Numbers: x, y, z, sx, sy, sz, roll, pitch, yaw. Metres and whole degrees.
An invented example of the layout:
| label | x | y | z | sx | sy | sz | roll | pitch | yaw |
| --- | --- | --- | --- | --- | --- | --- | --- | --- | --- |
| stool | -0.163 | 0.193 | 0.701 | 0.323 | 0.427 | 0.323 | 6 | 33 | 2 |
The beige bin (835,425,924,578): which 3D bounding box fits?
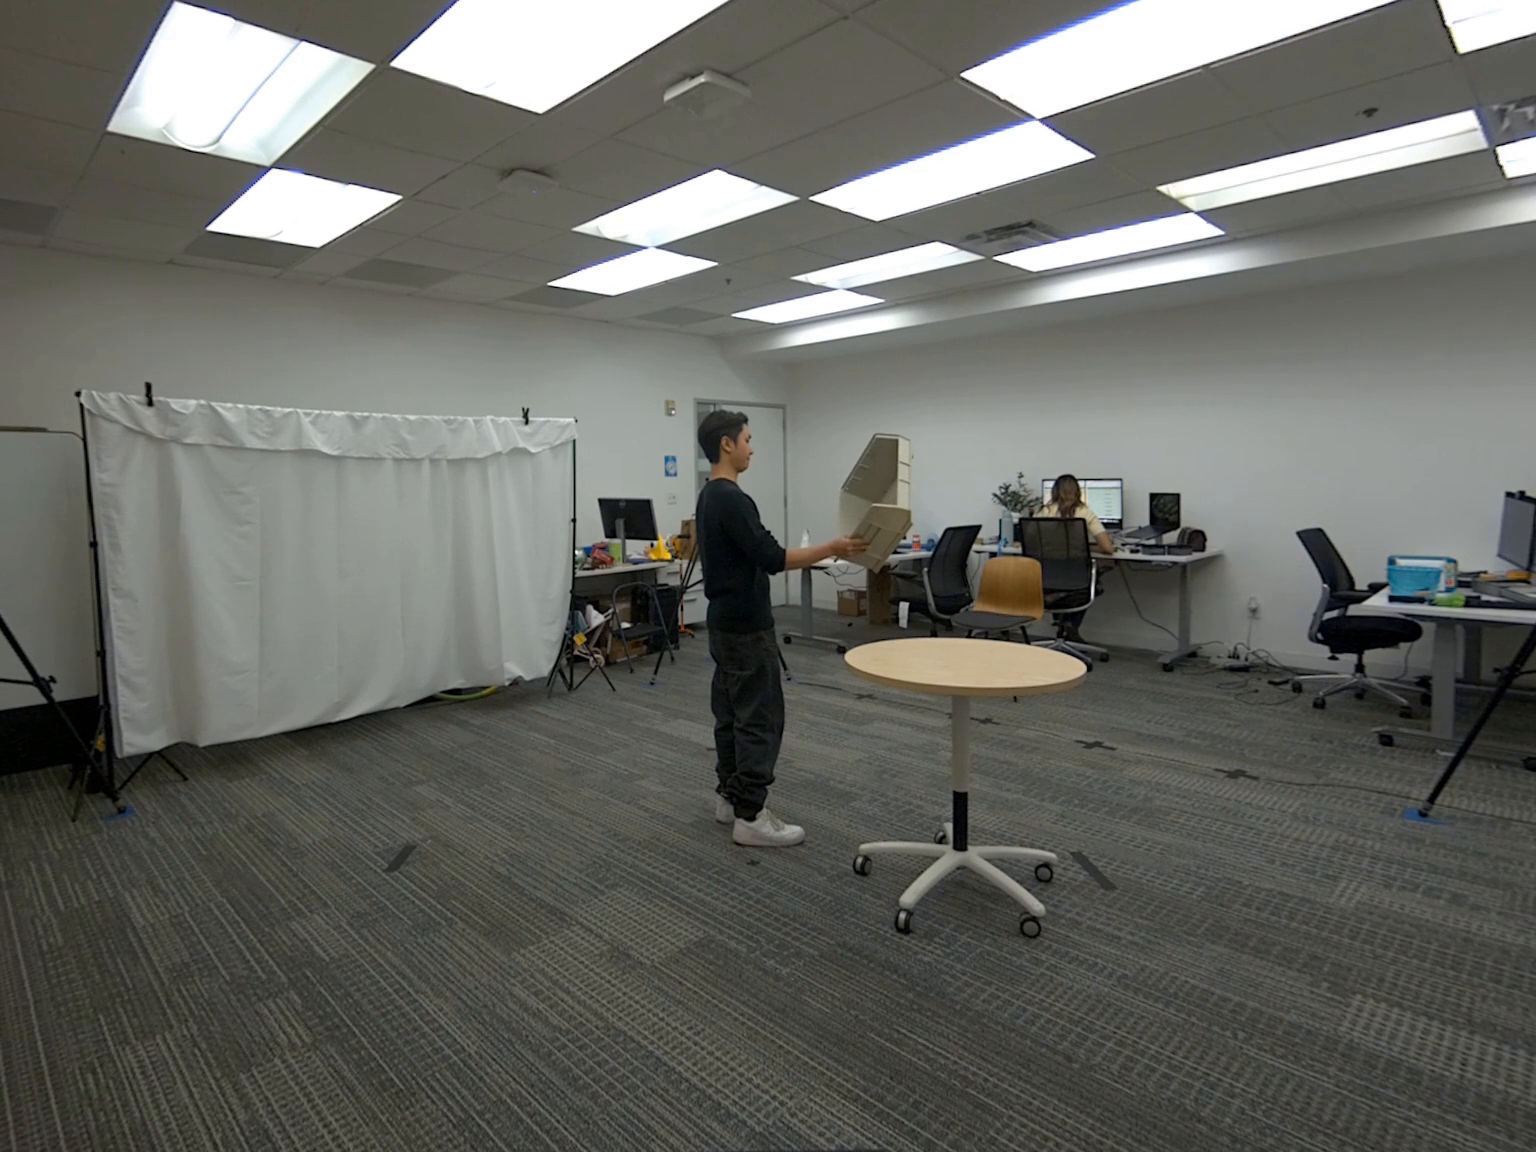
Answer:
| label | x | y | z | sx | sy | sz | roll | pitch | yaw |
| --- | --- | --- | --- | --- | --- | --- | --- | --- | --- |
| beige bin | 0.432 | -0.293 | 3.365 | 0.187 | 0.431 | 0.373 | 17 | -43 | -10 |
